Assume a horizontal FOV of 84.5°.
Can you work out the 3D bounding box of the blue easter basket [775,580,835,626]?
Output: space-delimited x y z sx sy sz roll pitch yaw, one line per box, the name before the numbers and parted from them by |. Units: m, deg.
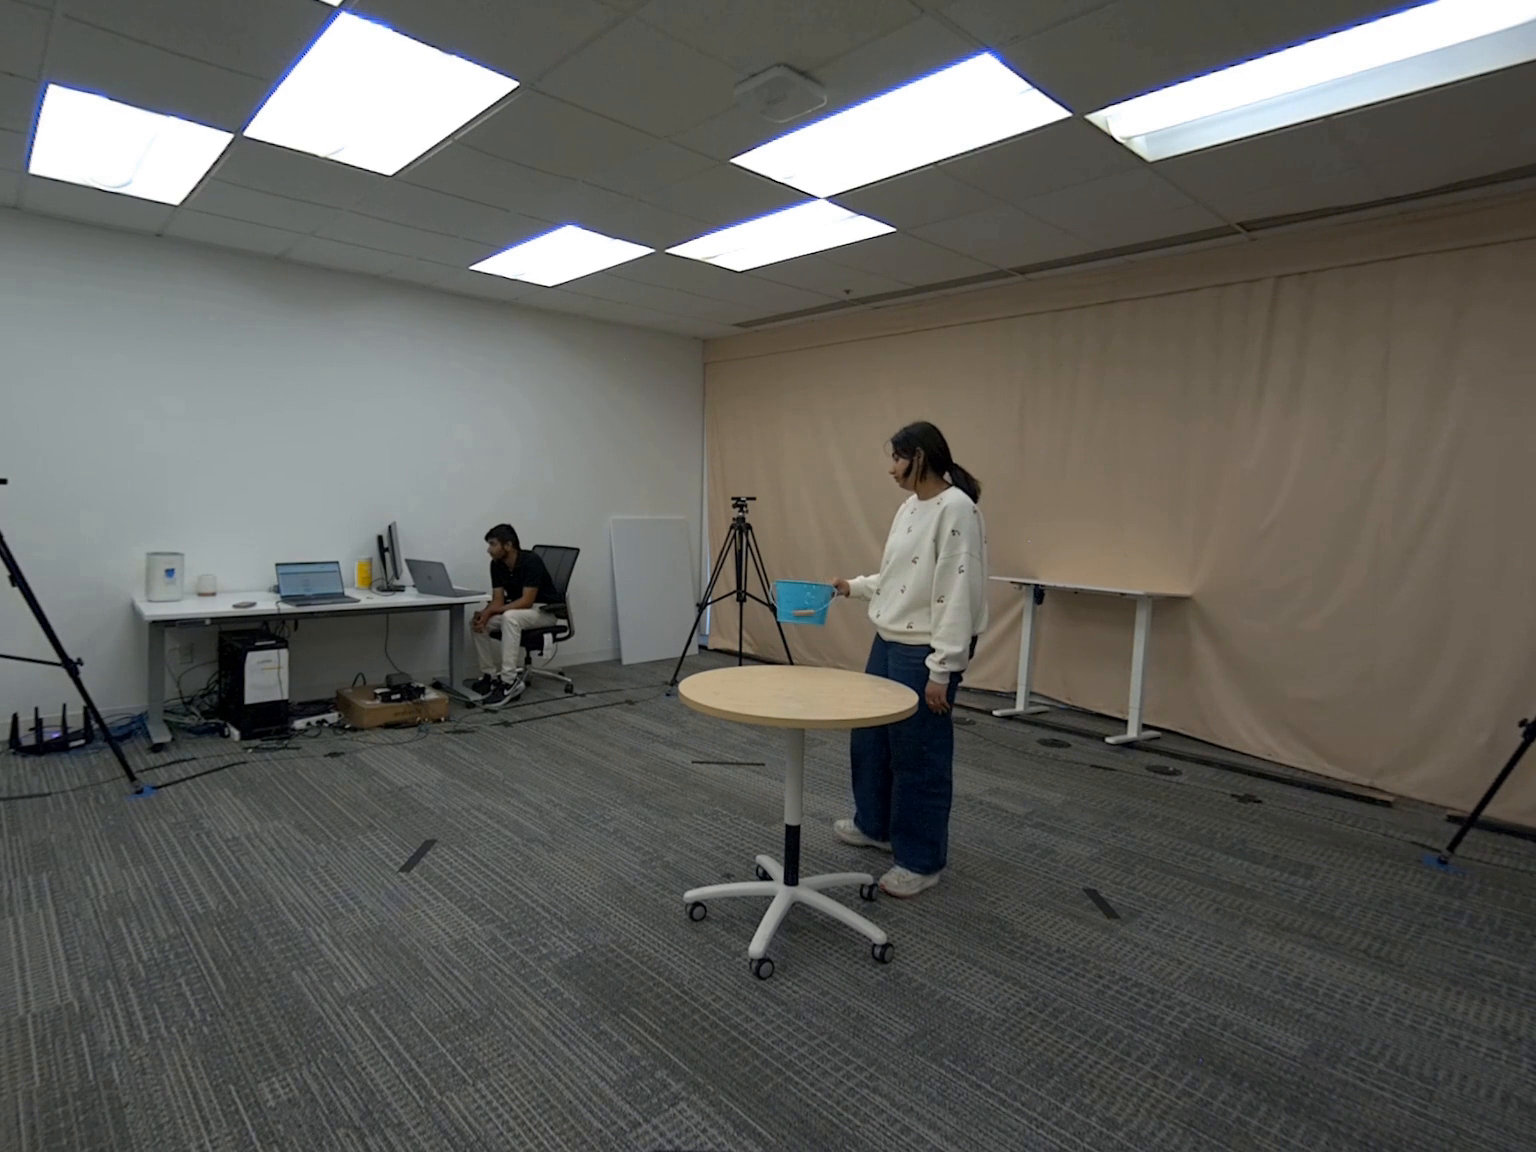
blue easter basket | 0.132 0.104 3.201 0.243 0.156 0.243 5 -4 -1
